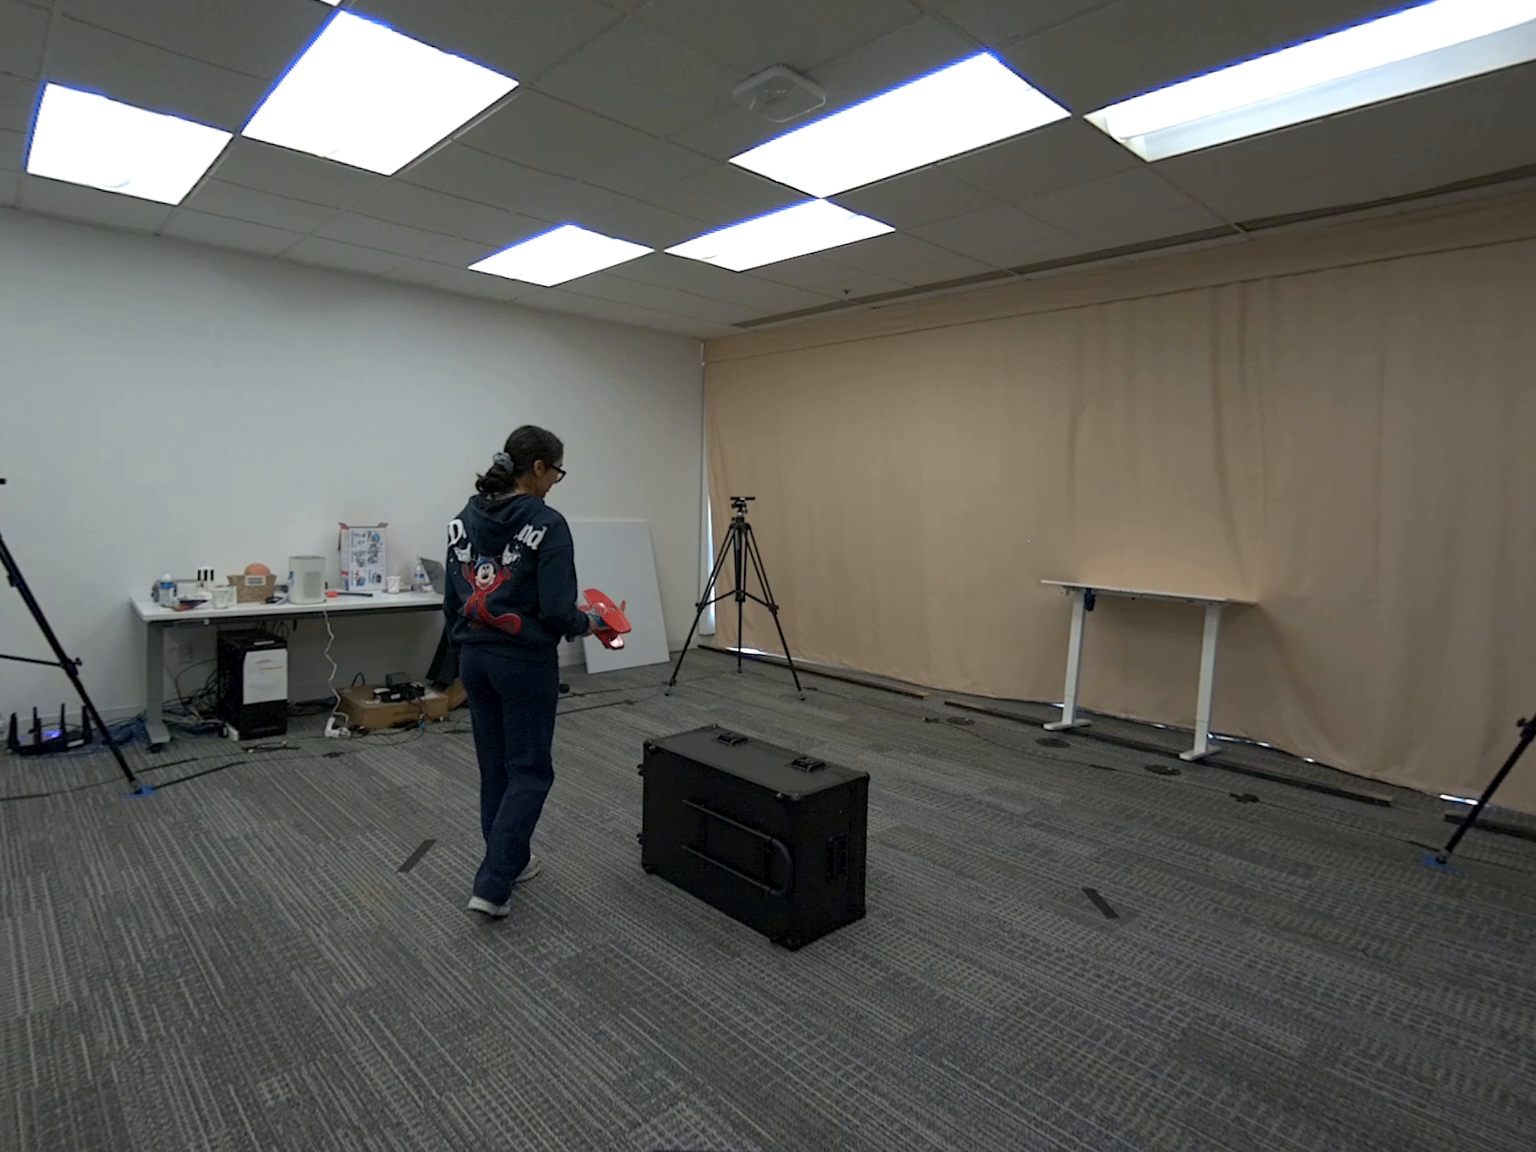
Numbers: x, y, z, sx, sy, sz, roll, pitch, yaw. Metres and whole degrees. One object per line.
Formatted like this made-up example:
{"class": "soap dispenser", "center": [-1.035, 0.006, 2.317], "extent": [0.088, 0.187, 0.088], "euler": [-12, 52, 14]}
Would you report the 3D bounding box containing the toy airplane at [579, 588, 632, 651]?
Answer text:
{"class": "toy airplane", "center": [-0.626, 0.186, 3.064], "extent": [0.252, 0.156, 0.259], "euler": [33, 15, 3]}
